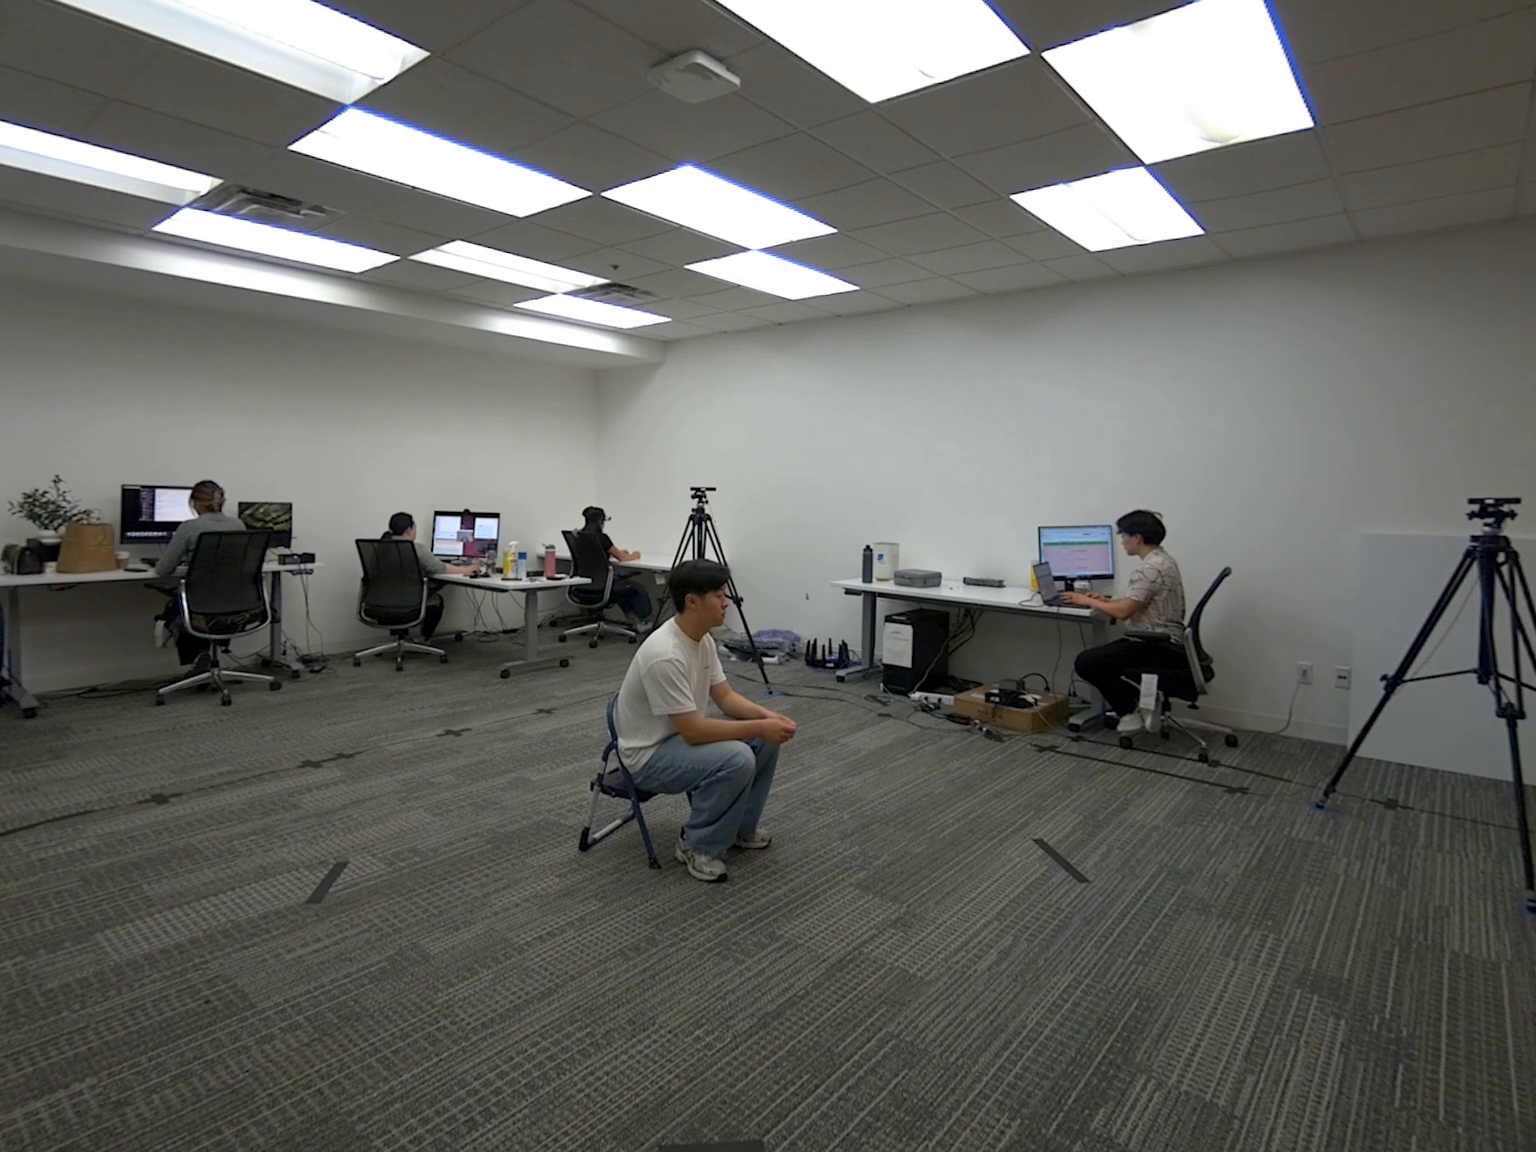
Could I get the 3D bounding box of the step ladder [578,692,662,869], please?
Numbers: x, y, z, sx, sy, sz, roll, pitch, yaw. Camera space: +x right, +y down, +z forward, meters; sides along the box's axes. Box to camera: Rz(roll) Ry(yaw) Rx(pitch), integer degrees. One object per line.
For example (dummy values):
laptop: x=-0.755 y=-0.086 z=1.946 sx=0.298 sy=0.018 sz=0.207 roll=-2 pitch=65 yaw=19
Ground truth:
step ladder: x=-0.501 y=0.739 z=3.348 sx=0.357 sy=0.605 sz=0.421 roll=2 pitch=3 yaw=22
